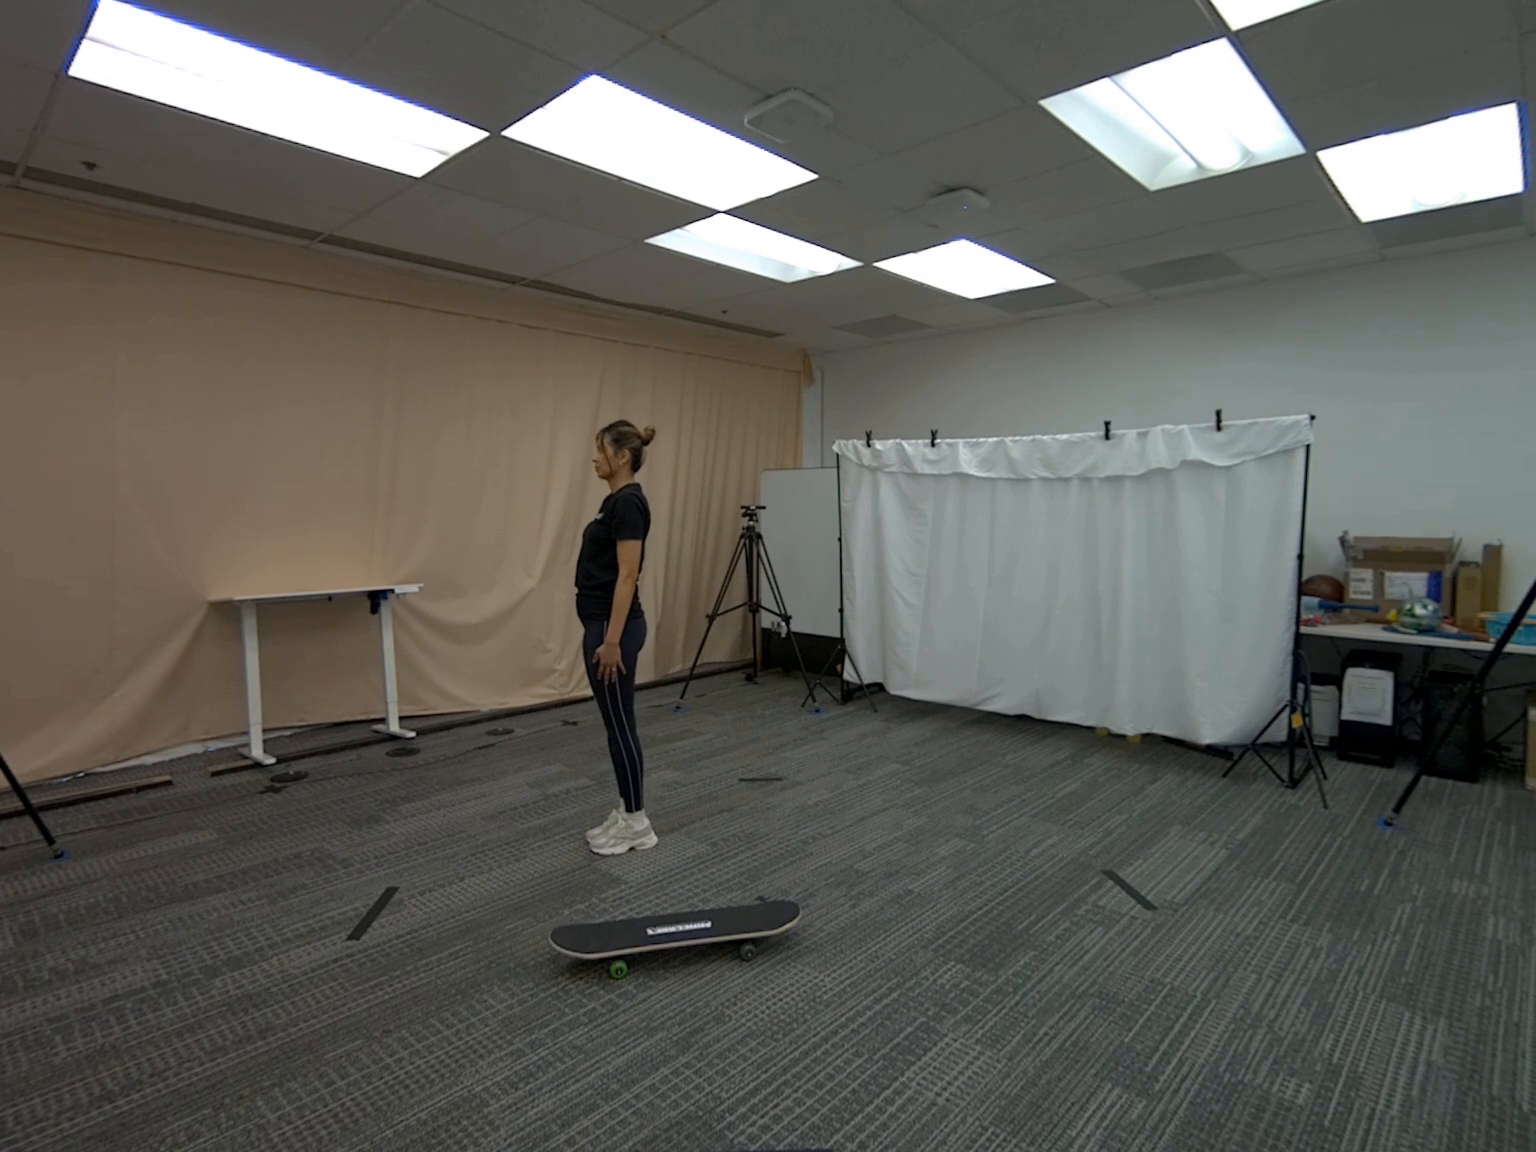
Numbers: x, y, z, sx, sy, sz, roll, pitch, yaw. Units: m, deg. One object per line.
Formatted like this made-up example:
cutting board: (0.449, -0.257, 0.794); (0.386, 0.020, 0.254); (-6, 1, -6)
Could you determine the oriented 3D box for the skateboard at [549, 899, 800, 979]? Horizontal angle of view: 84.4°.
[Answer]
skateboard: (-0.271, 1.121, 2.603); (0.774, 0.110, 0.196); (-1, 3, -13)
